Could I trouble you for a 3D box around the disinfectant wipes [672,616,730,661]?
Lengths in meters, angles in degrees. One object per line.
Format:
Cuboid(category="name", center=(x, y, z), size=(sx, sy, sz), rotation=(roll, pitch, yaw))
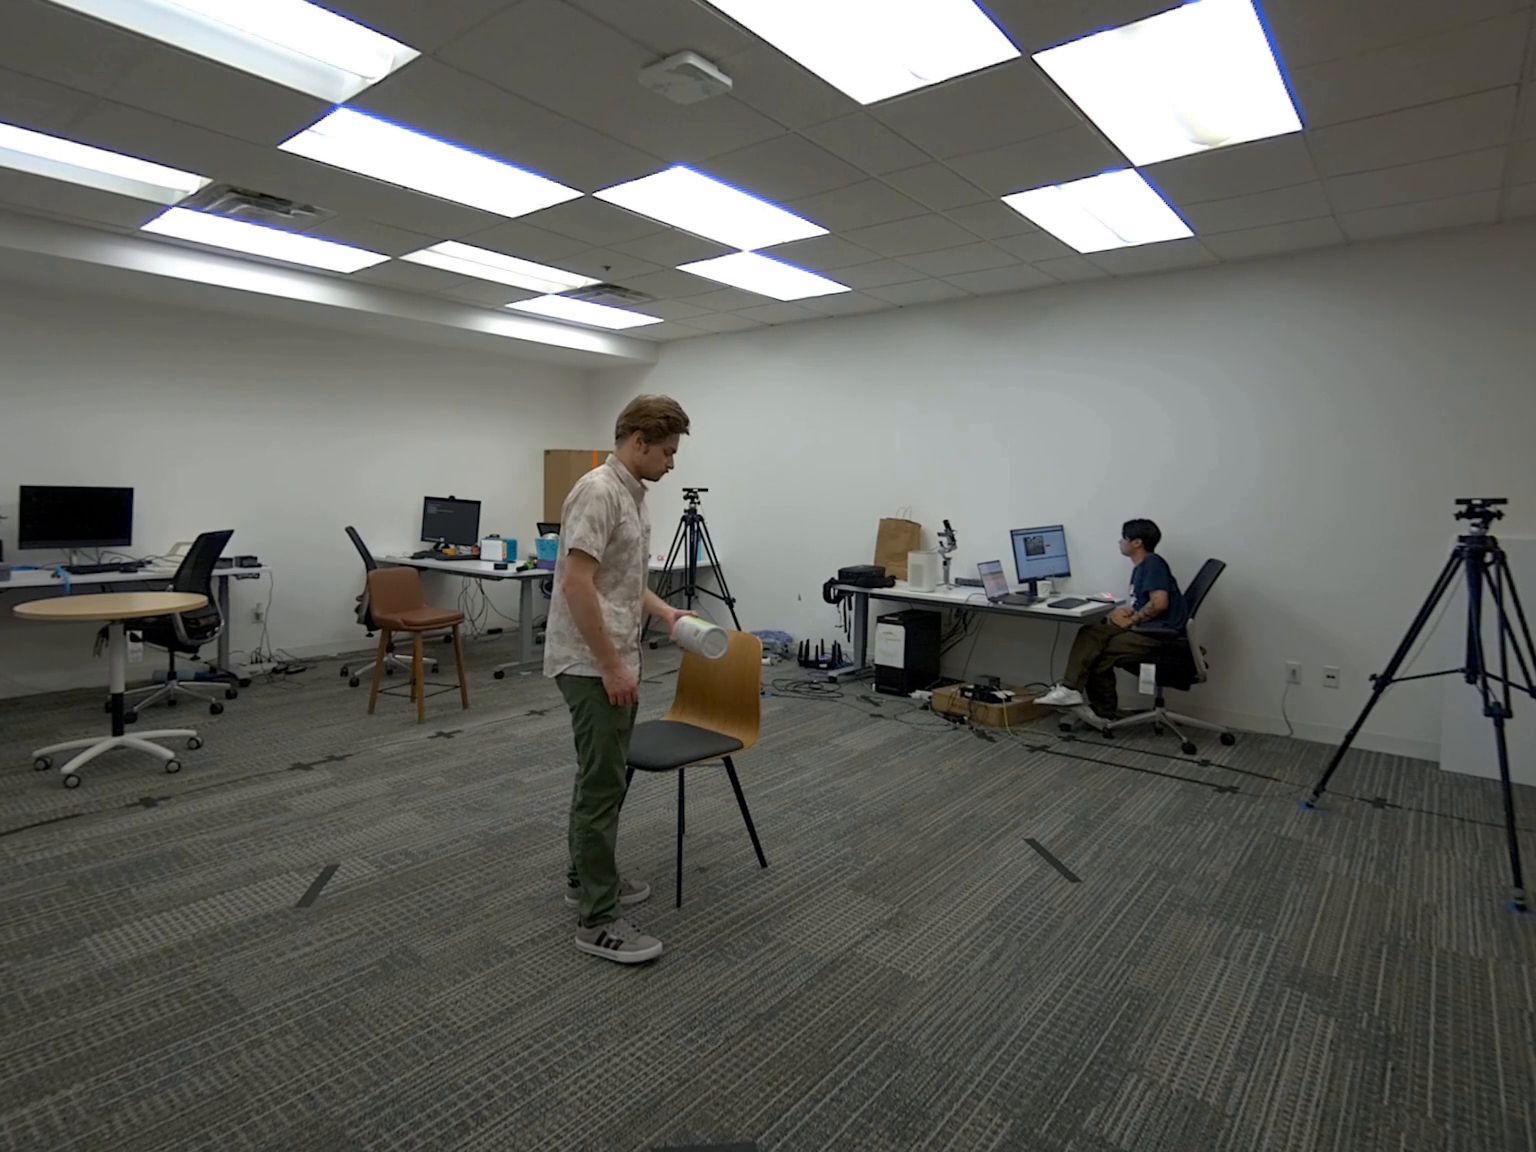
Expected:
Cuboid(category="disinfectant wipes", center=(-0.229, 0.198, 2.740), size=(0.115, 0.117, 0.224), rotation=(-1, 5, -29))
